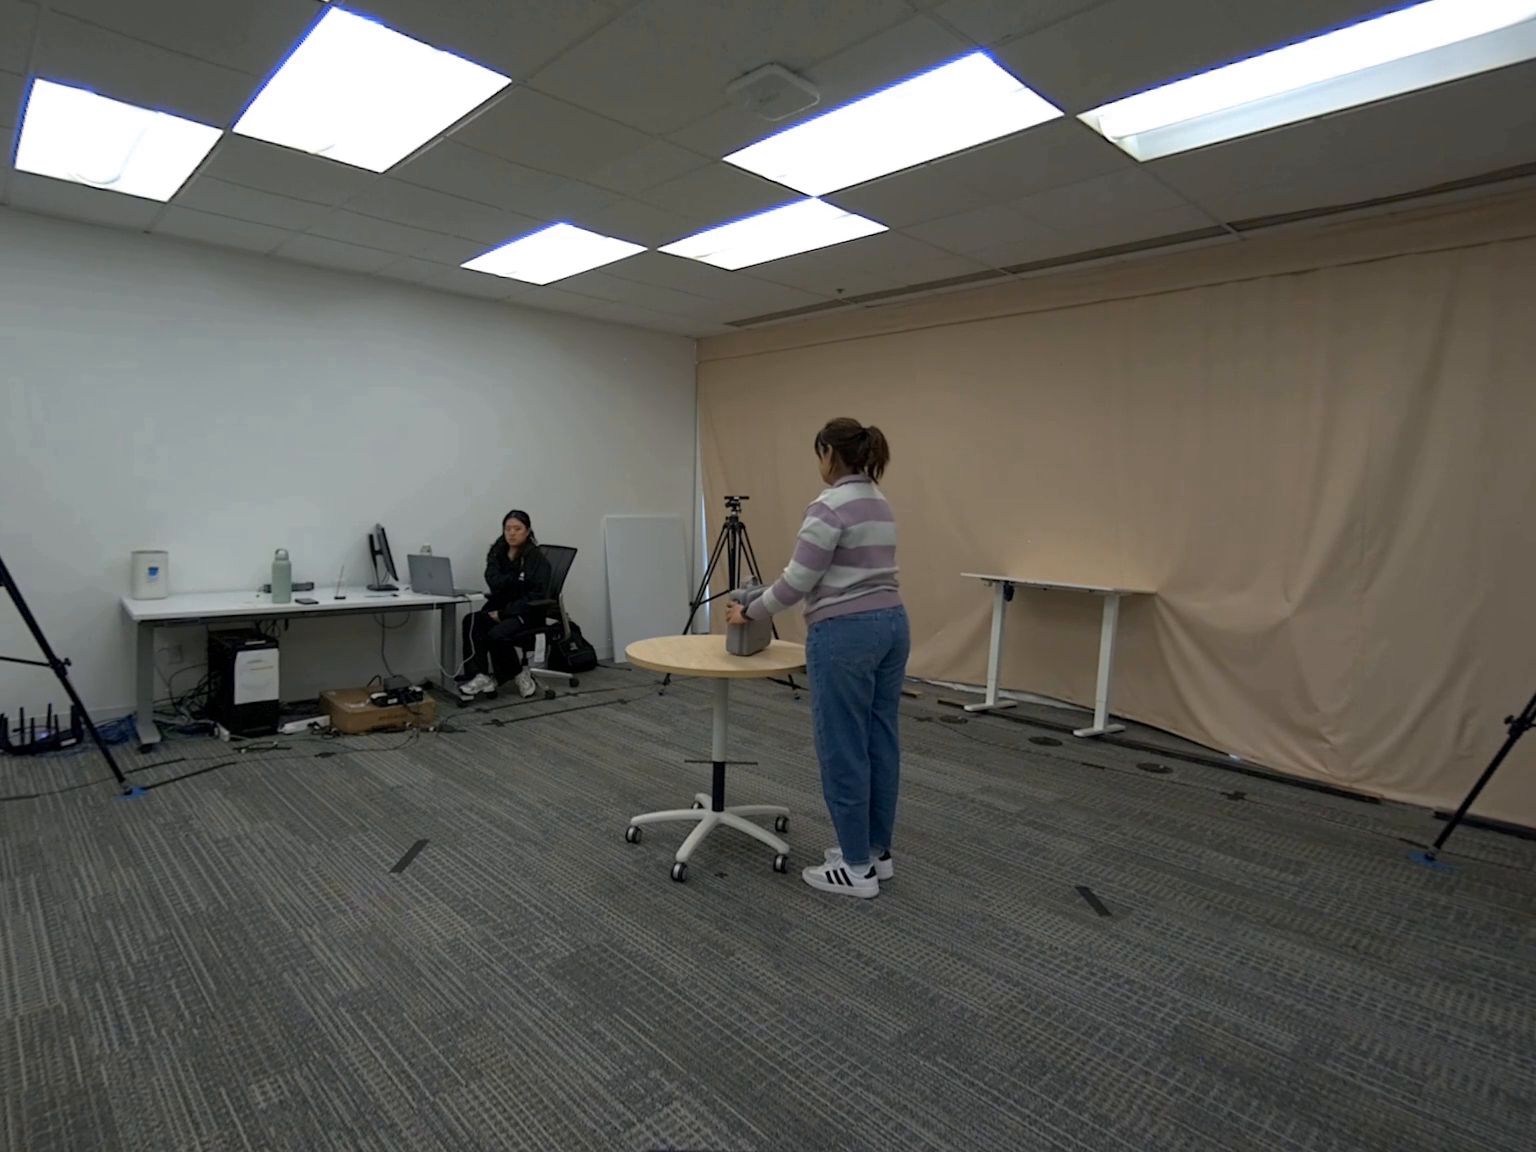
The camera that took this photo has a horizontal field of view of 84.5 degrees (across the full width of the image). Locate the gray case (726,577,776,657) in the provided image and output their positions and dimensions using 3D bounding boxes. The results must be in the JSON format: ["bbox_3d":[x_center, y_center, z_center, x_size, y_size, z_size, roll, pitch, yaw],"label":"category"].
[{"bbox_3d":[-0.075,0.170,3.322,0.106,0.259,0.253,6,8,22],"label":"gray case"}]
